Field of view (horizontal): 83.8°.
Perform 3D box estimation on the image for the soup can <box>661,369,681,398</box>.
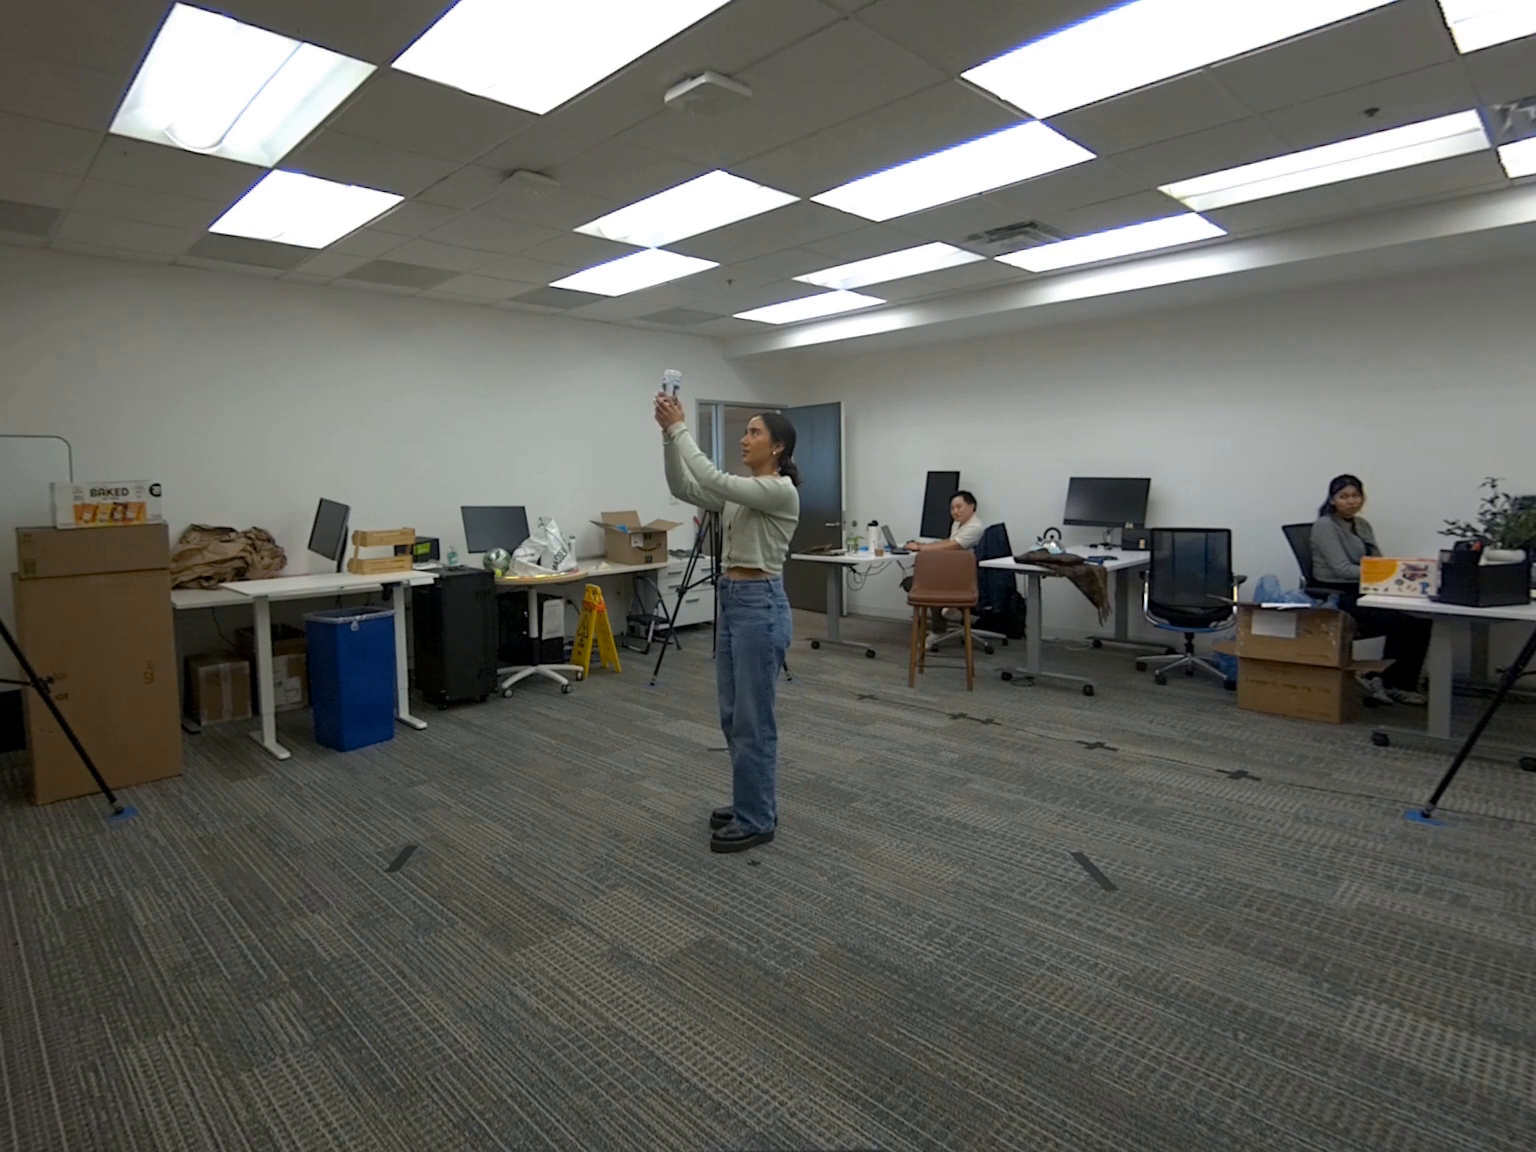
[{"bbox_3d":[-0.365,-0.701,3.184,0.067,0.122,0.067,7,-3,-1],"label":"soup can"}]
